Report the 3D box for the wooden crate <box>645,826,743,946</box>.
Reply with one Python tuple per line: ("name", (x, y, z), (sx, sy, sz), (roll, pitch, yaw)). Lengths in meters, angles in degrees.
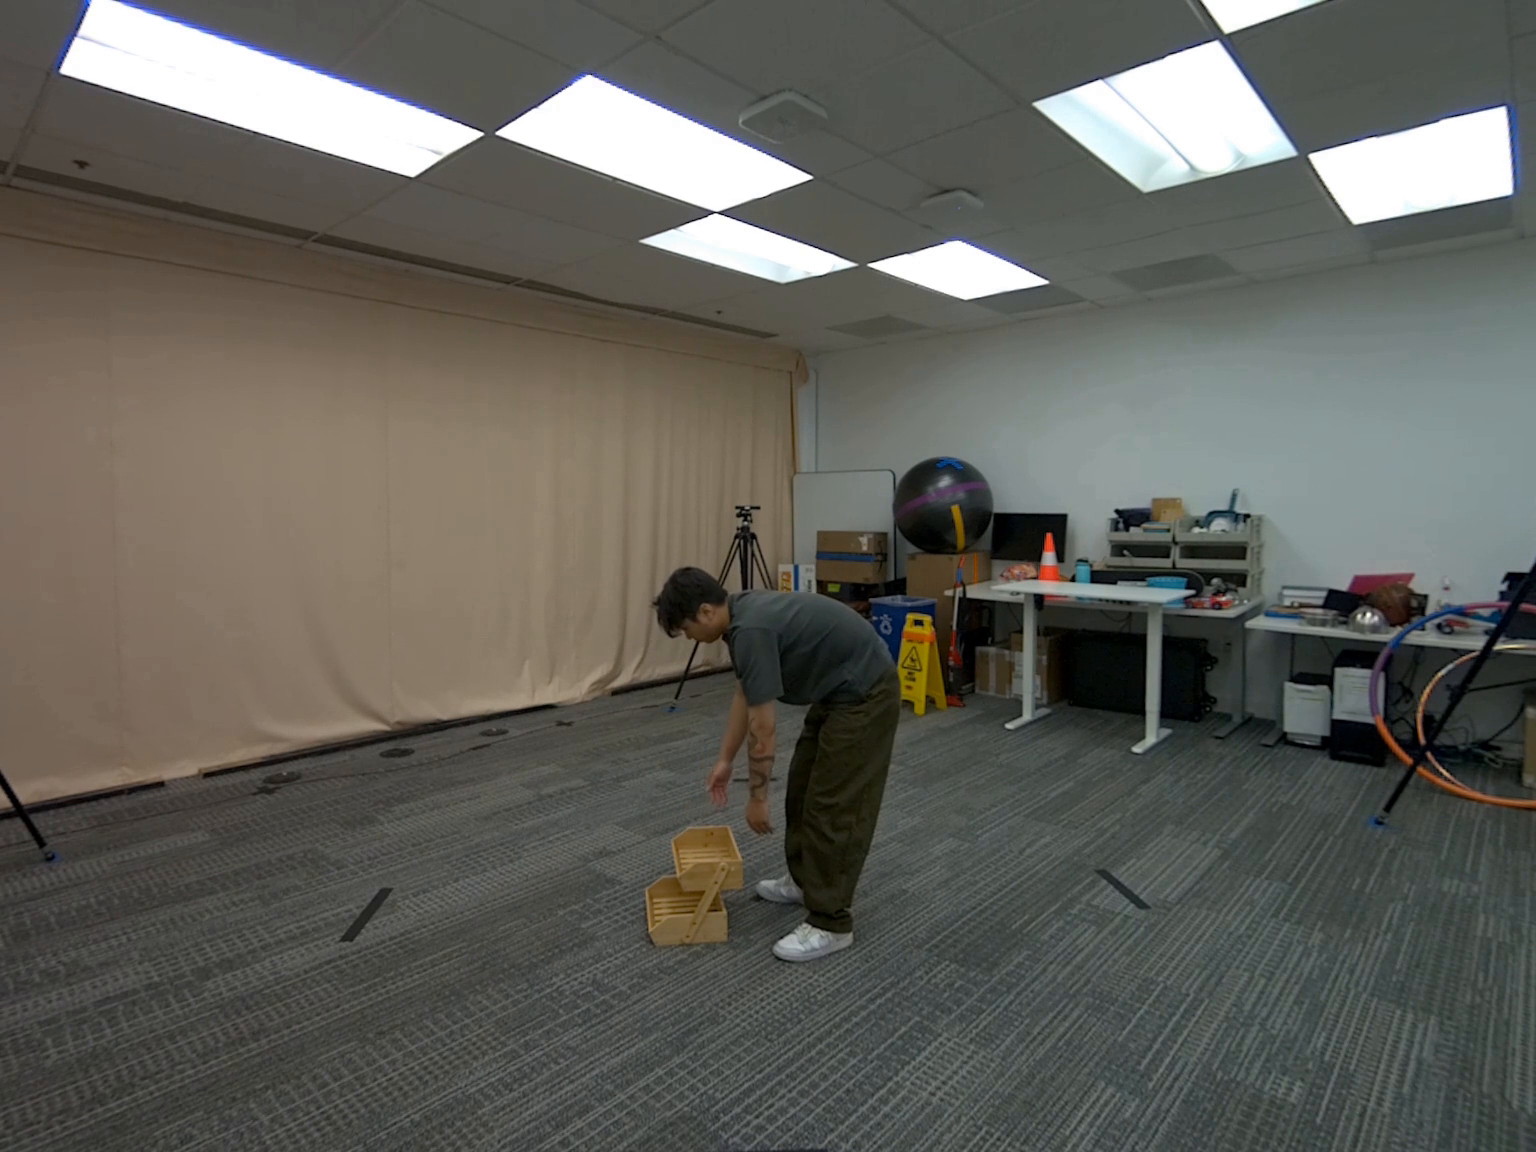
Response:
("wooden crate", (-0.261, 1.031, 2.823), (0.299, 0.273, 0.328), (-1, 4, -9))
